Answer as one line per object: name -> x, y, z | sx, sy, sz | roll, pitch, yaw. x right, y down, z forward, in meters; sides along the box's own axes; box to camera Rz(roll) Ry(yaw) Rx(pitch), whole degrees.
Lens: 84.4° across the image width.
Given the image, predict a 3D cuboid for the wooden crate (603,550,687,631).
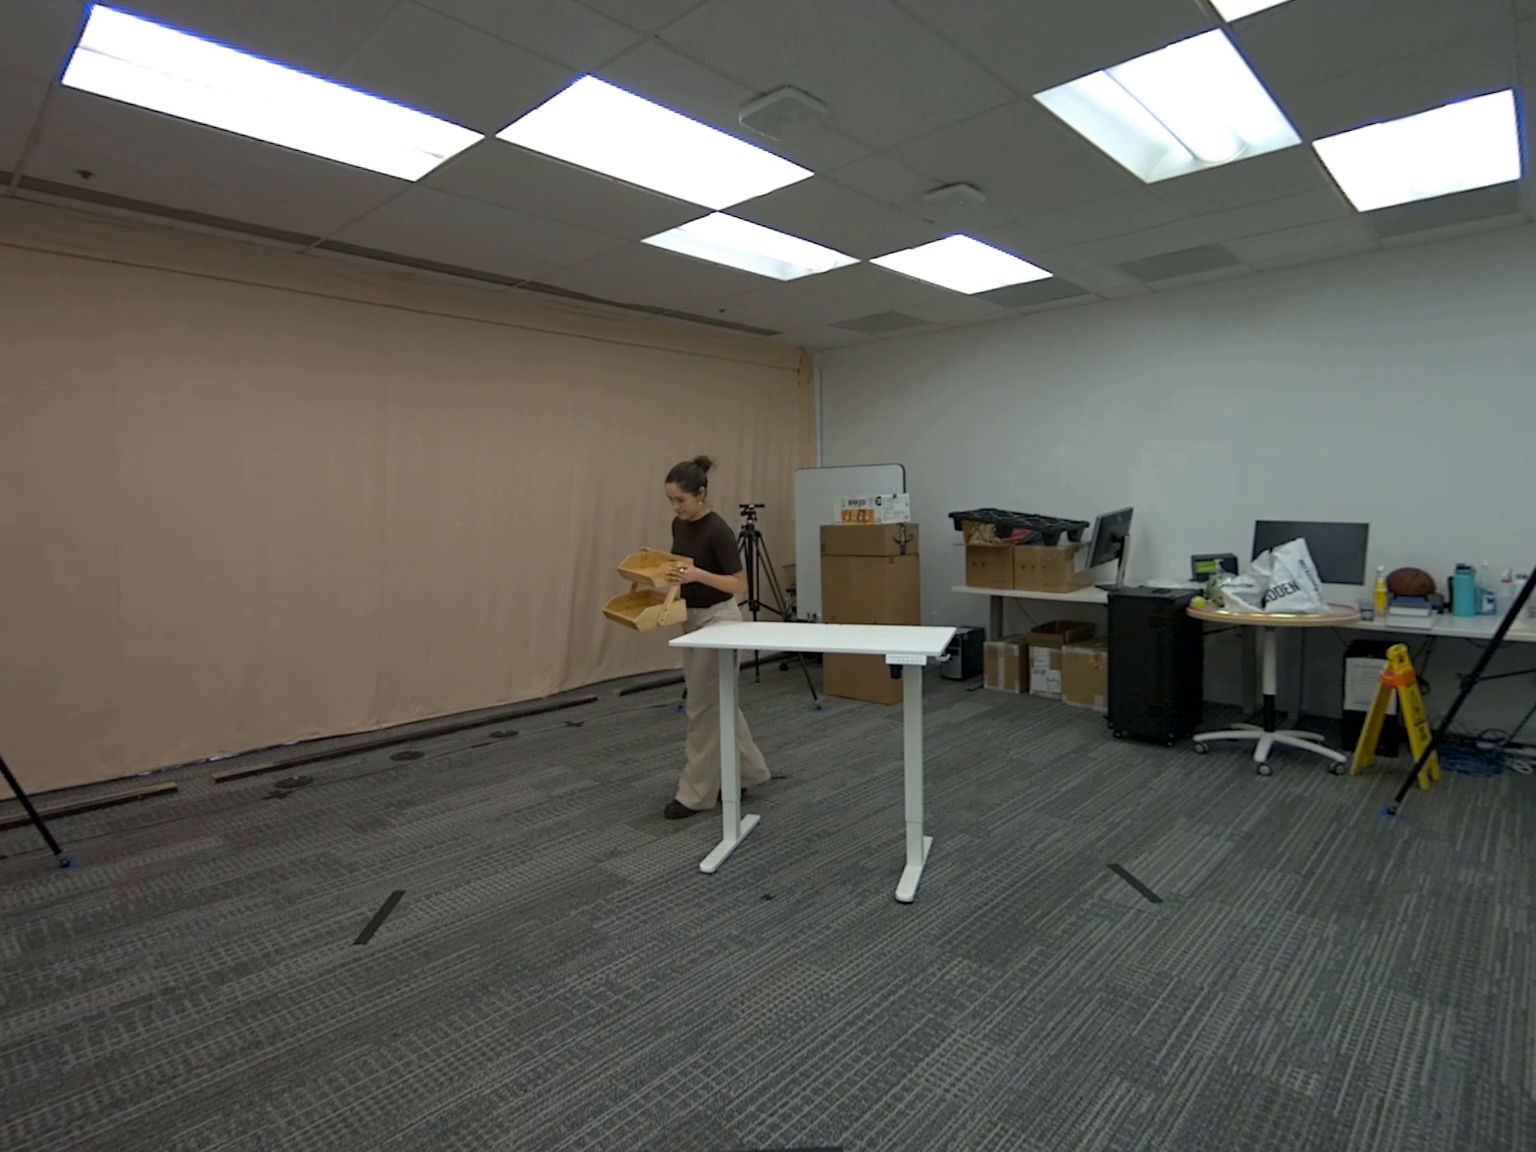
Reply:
wooden crate -> -0.520, 0.052, 3.641 | 0.294, 0.271, 0.335 | -10, 14, -35
